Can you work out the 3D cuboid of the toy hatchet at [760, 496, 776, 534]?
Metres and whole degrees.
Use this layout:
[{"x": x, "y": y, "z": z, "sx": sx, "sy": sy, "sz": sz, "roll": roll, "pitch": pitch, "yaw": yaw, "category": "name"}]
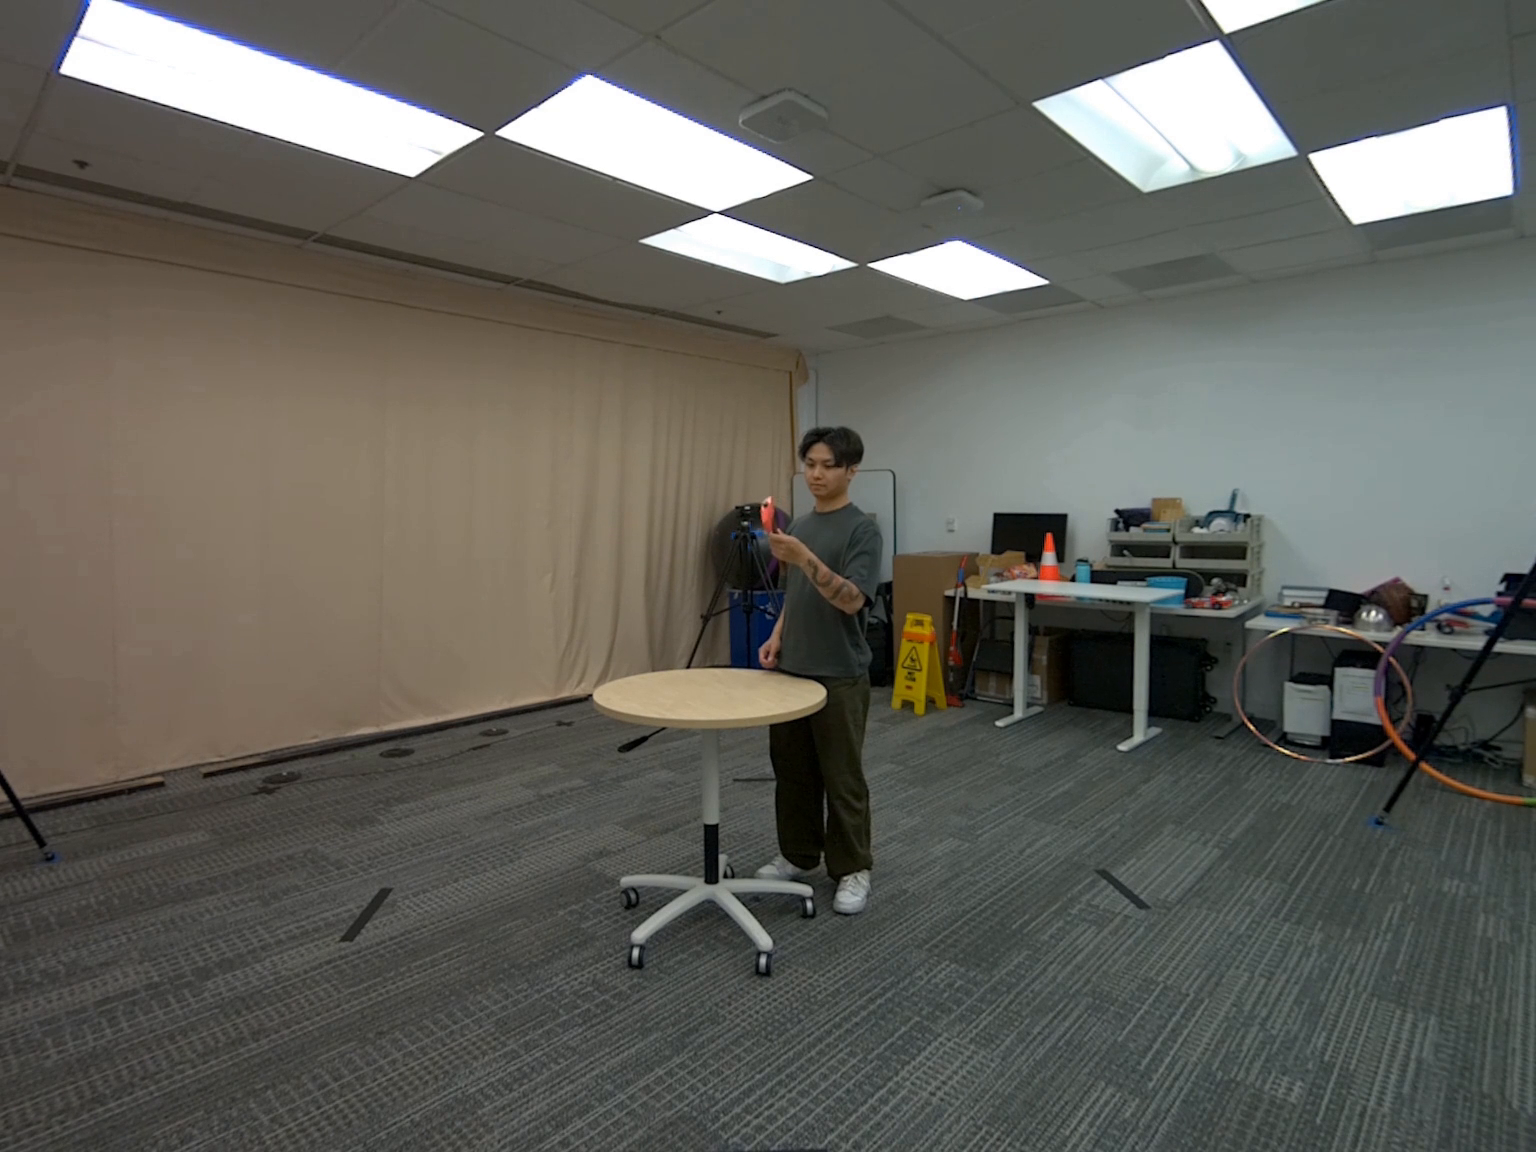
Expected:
[{"x": 0.028, "y": -0.111, "z": 2.642, "sx": 0.030, "sy": 0.265, "sz": 0.131, "roll": -7, "pitch": 23, "yaw": 17, "category": "toy hatchet"}]
